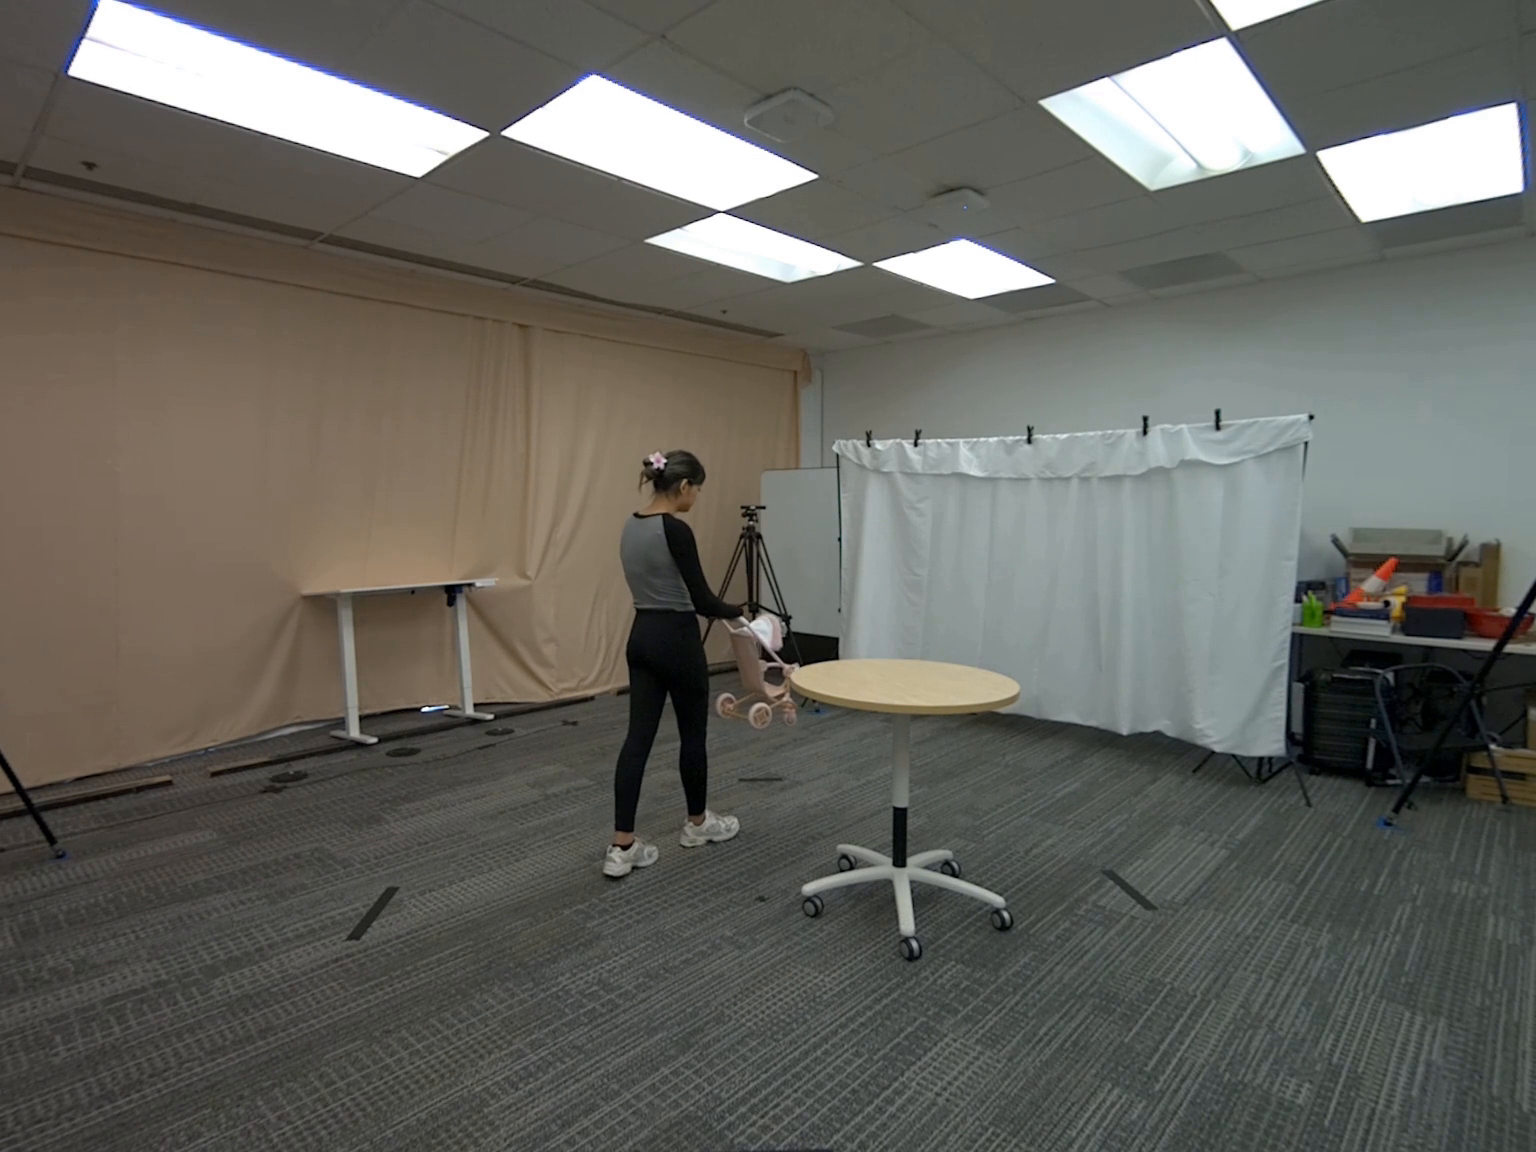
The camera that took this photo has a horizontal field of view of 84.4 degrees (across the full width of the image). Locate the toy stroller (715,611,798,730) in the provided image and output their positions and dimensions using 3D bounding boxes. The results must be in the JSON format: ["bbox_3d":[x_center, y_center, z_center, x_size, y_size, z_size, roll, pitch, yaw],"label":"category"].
[{"bbox_3d":[-0.028,0.400,3.555,0.332,0.534,0.289,-5,3,-31],"label":"toy stroller"}]
